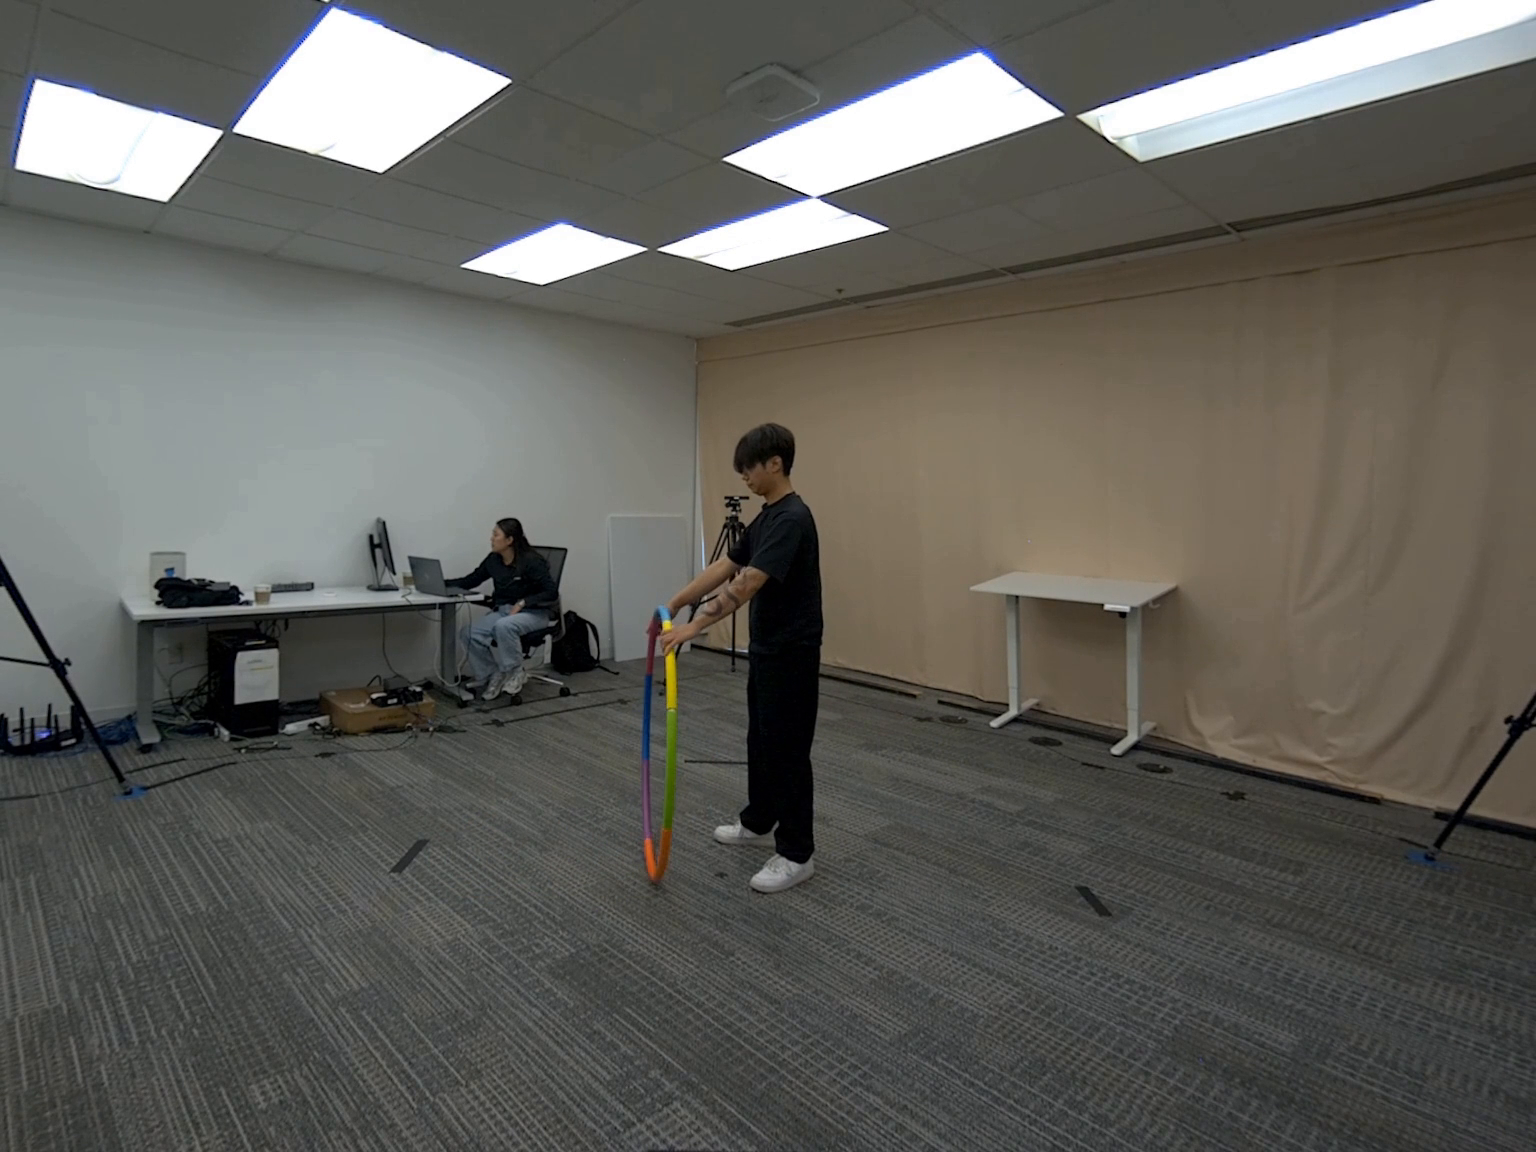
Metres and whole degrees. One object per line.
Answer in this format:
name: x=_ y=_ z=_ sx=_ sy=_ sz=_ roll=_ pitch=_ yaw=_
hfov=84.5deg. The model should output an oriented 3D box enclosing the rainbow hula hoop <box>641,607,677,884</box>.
rainbow hula hoop: x=-0.413 y=0.608 z=3.115 sx=0.035 sy=0.976 sz=0.990 roll=1 pitch=4 yaw=-12
